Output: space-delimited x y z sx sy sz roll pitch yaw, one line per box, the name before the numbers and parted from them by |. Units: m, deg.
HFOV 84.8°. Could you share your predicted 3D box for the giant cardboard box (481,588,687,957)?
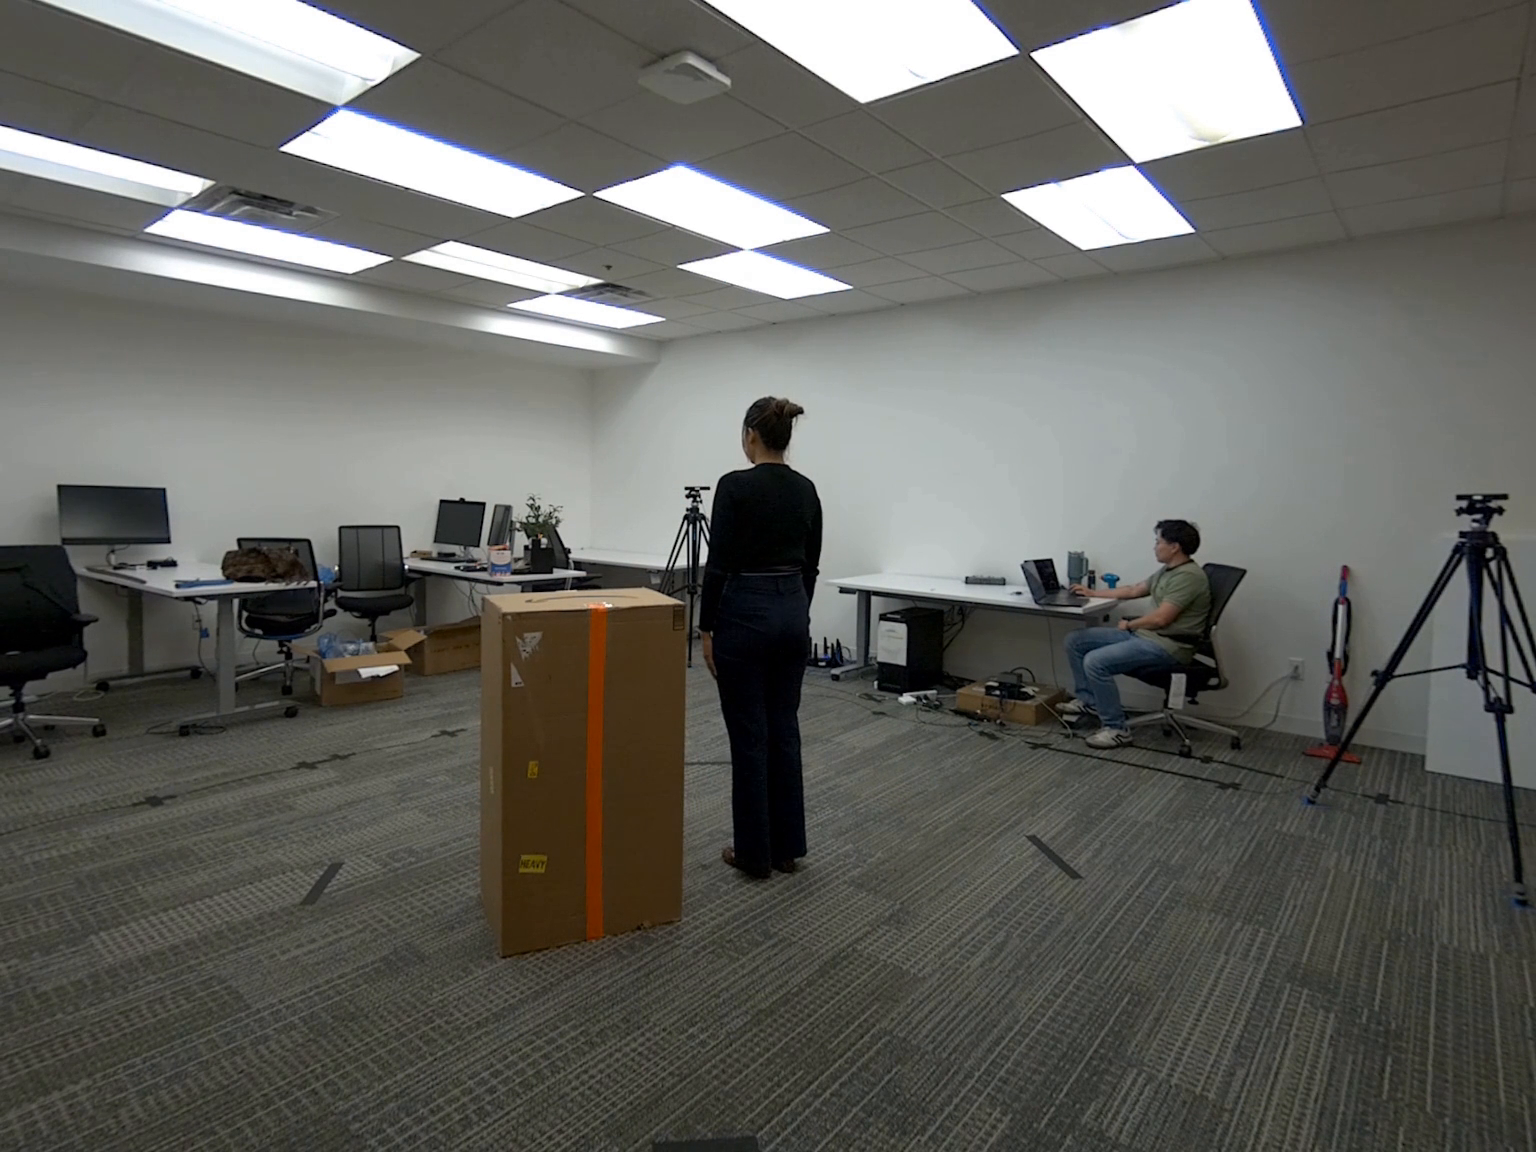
giant cardboard box | -0.625 0.581 2.766 0.564 1.023 0.438 -1 4 -25
